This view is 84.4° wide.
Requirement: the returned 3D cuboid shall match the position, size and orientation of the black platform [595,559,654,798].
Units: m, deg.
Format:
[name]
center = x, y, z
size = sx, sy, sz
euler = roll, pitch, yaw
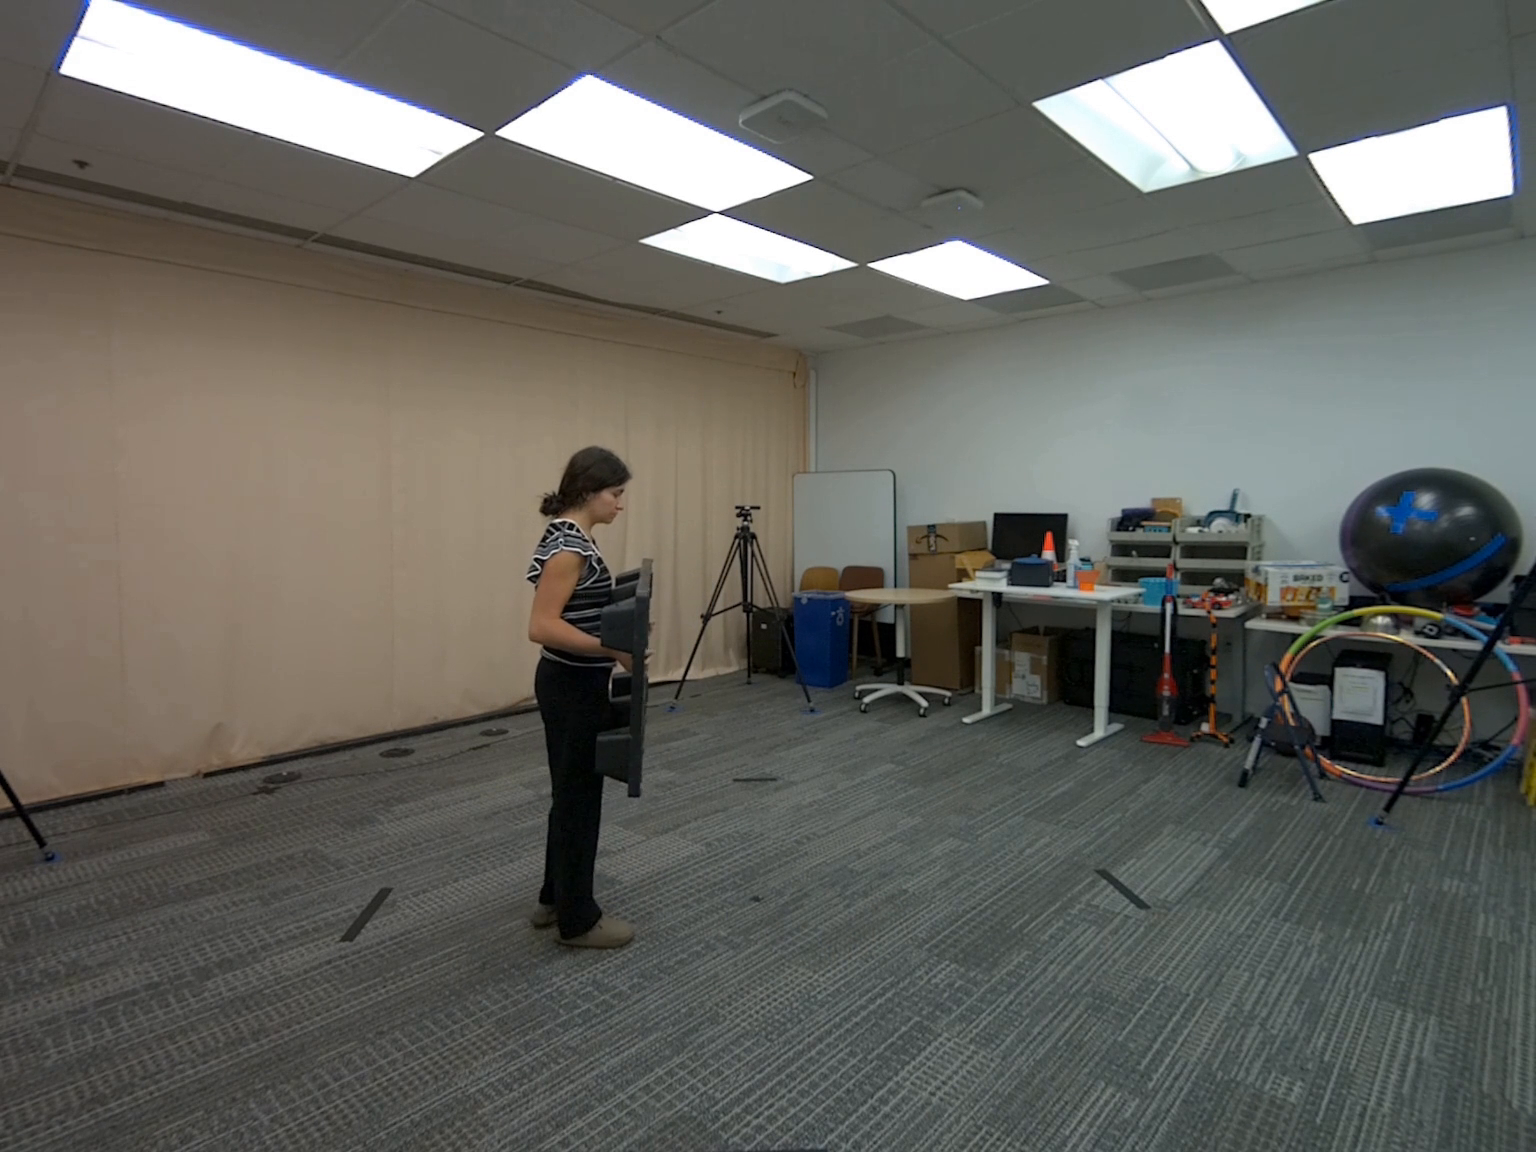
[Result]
[black platform]
center = -0.448, 0.281, 2.757
size = 0.142, 0.603, 0.813
euler = 1, 7, -7
